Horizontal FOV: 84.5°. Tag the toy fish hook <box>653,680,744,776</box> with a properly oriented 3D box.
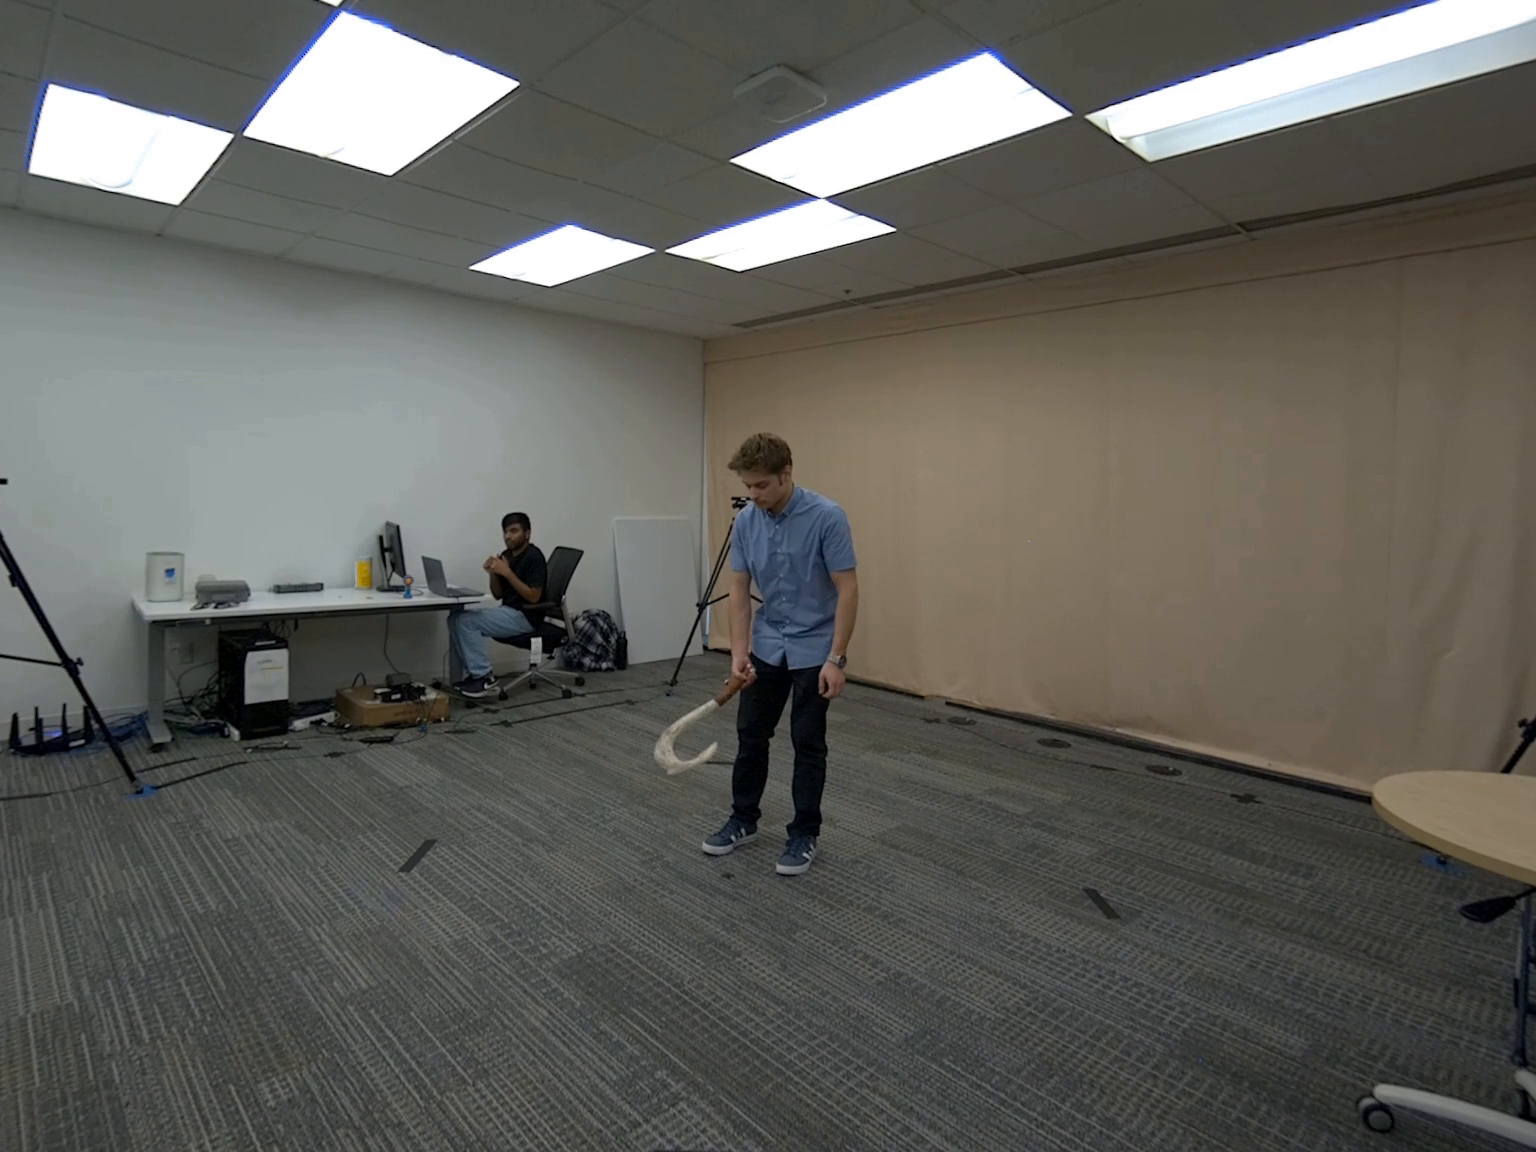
[{"bbox_3d":[-0.203,0.520,3.056,0.506,0.047,0.232,-42,48,-18],"label":"toy fish hook"}]
